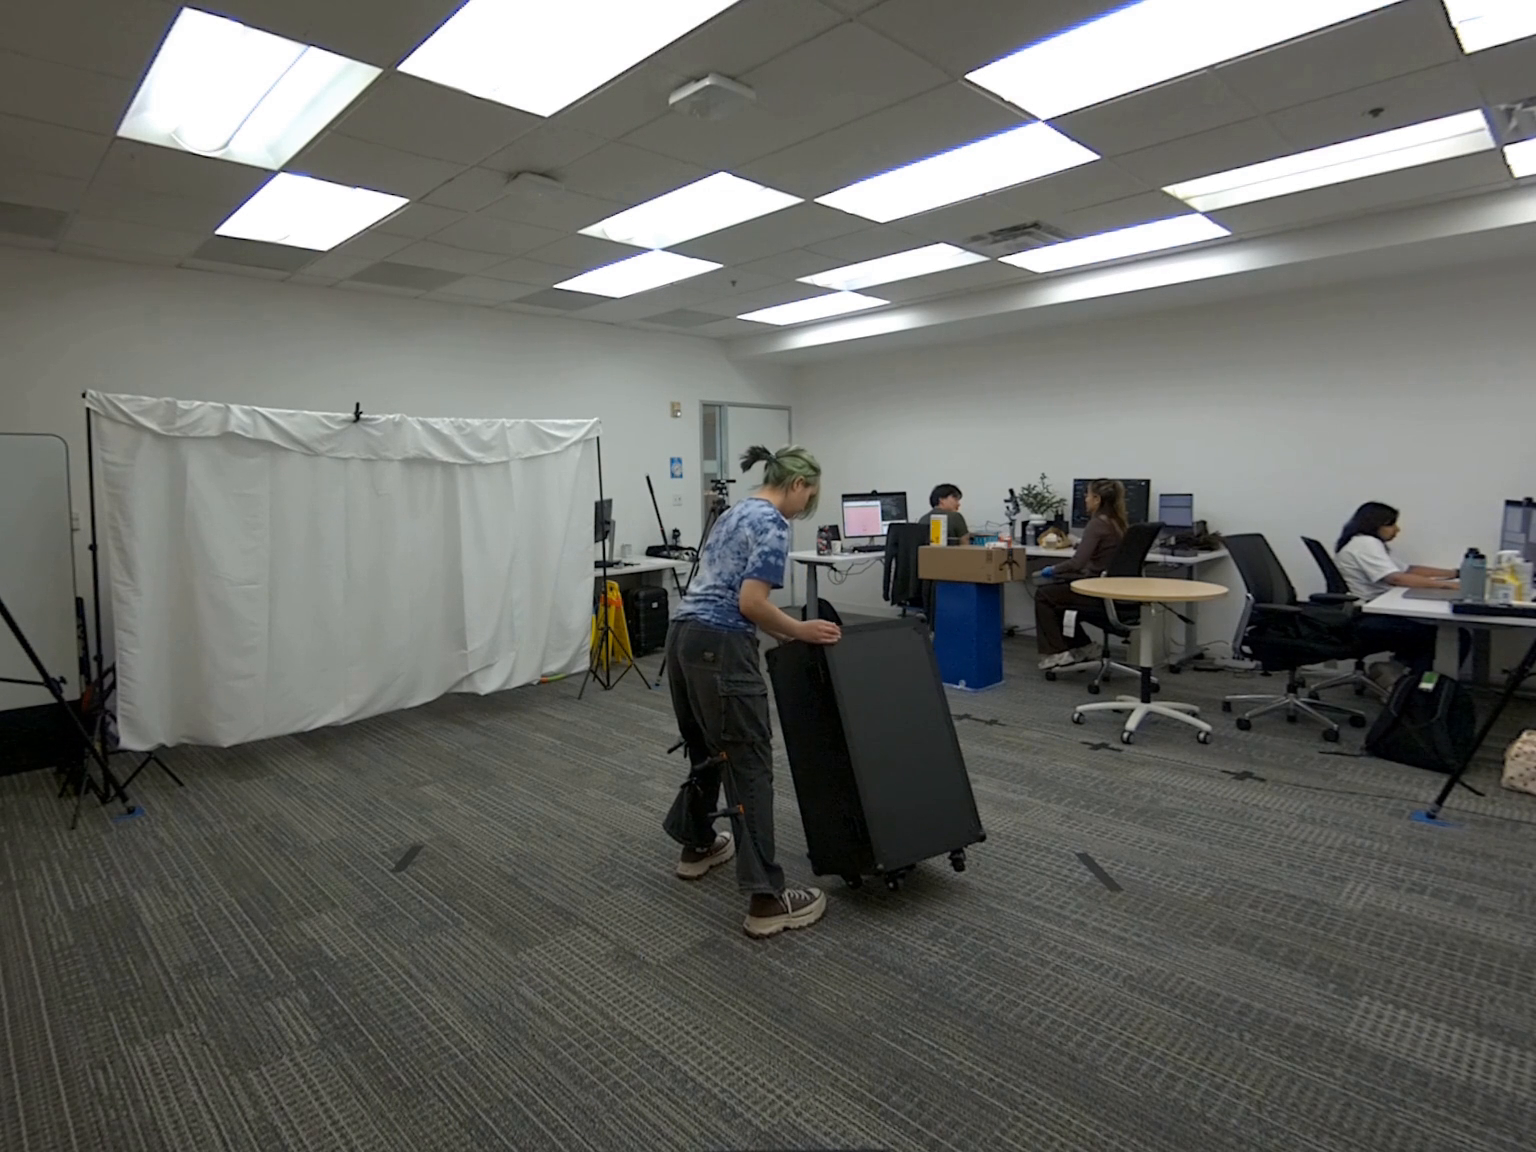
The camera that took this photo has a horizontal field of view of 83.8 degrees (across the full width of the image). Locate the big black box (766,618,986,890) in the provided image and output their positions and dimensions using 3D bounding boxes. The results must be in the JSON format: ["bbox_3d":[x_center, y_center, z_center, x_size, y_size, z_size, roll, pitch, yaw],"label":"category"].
[{"bbox_3d":[0.363,0.617,2.998,0.509,0.876,0.399,-4,-18,-32],"label":"big black box"}]
